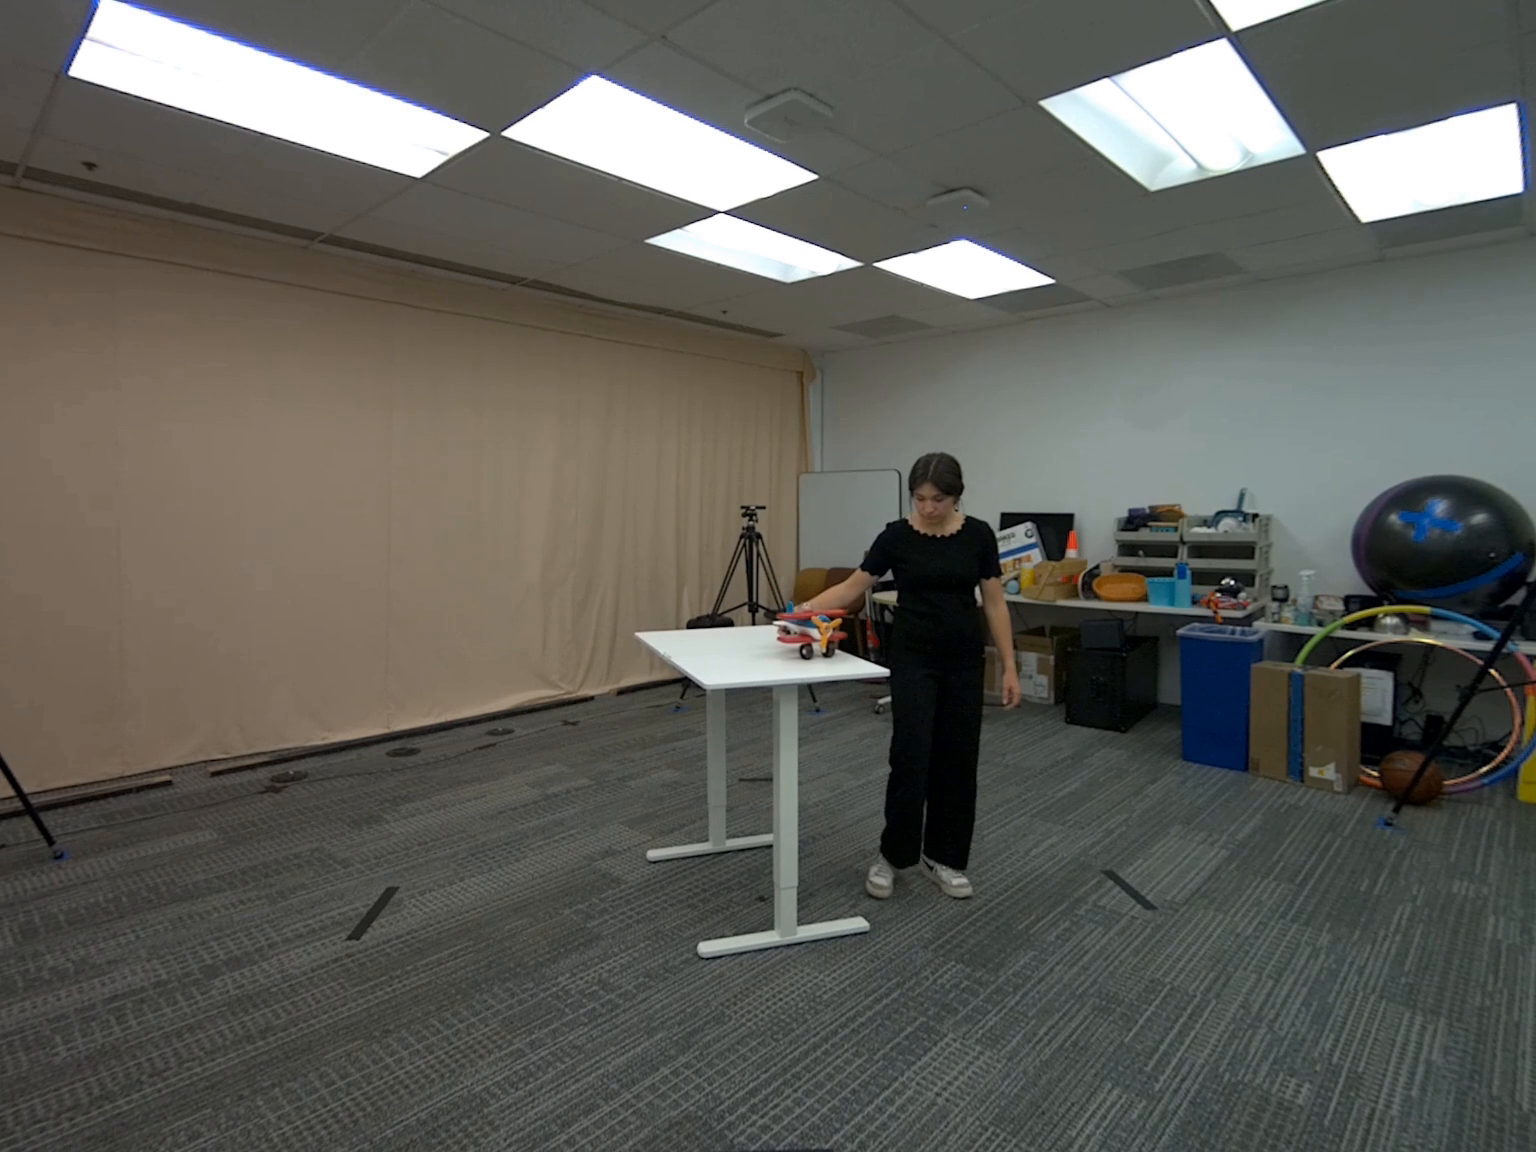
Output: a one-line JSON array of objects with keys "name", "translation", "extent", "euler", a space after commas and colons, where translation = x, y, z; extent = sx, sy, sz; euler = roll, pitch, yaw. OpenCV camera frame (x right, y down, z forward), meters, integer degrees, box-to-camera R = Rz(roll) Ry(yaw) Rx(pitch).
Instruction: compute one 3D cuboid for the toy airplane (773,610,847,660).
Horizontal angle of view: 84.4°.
[{"name": "toy airplane", "translation": [0.116, 0.175, 2.865], "extent": [0.268, 0.155, 0.245], "euler": [17, 18, 31]}]
